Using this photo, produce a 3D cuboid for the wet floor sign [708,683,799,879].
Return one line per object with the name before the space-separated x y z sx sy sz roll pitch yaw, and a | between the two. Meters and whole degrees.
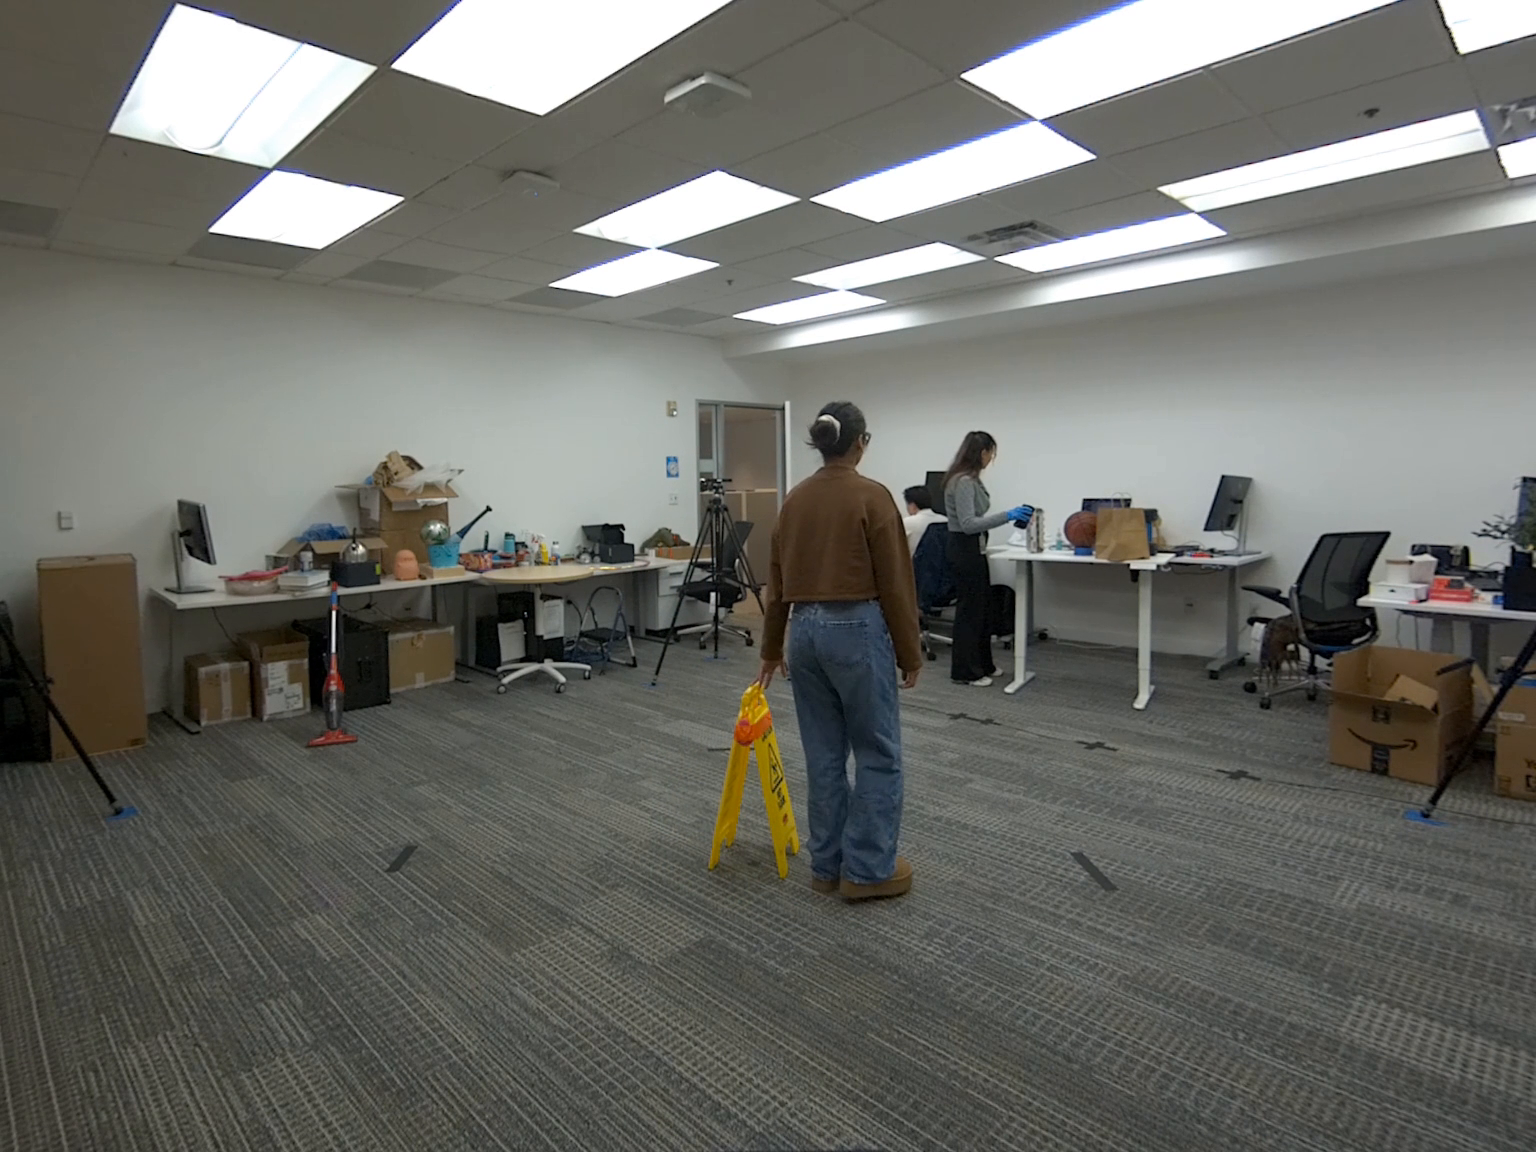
wet floor sign | -0.053 0.719 3.129 0.294 0.644 0.278 -1 3 17
